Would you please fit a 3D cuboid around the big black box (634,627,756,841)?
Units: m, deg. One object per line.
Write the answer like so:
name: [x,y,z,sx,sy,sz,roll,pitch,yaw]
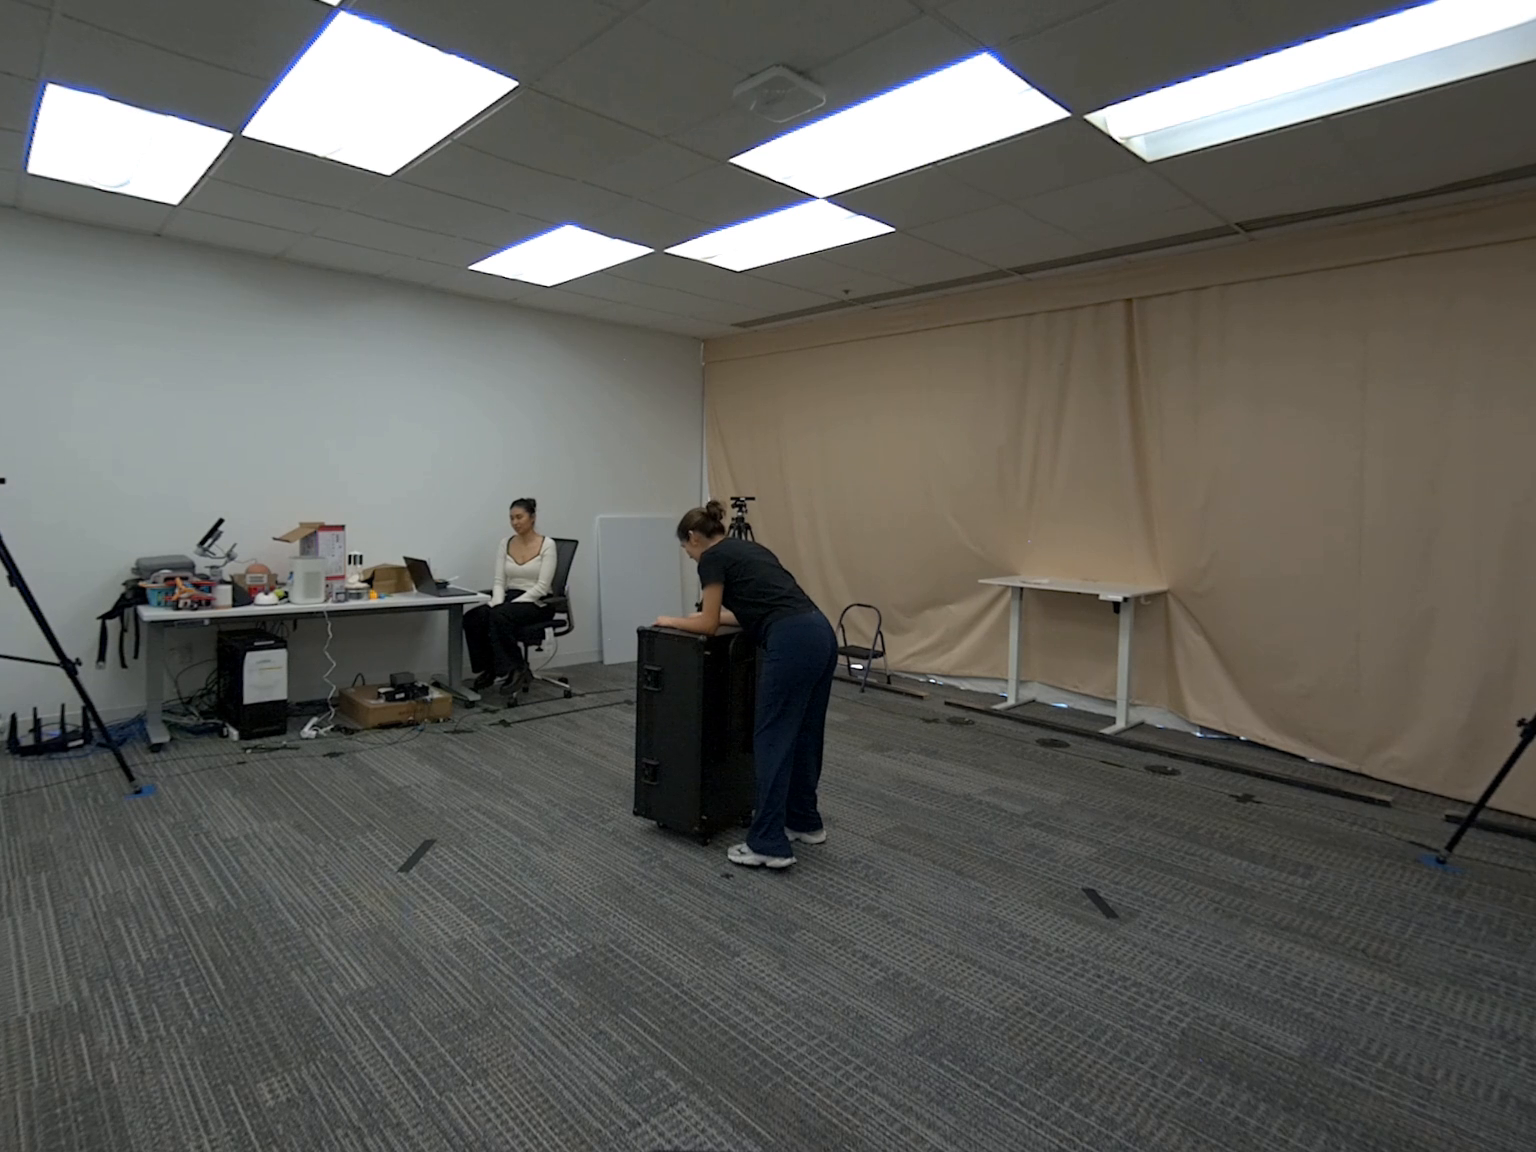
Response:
big black box: [-0.265,0.586,3.545,0.406,0.860,0.510,4,4,35]
